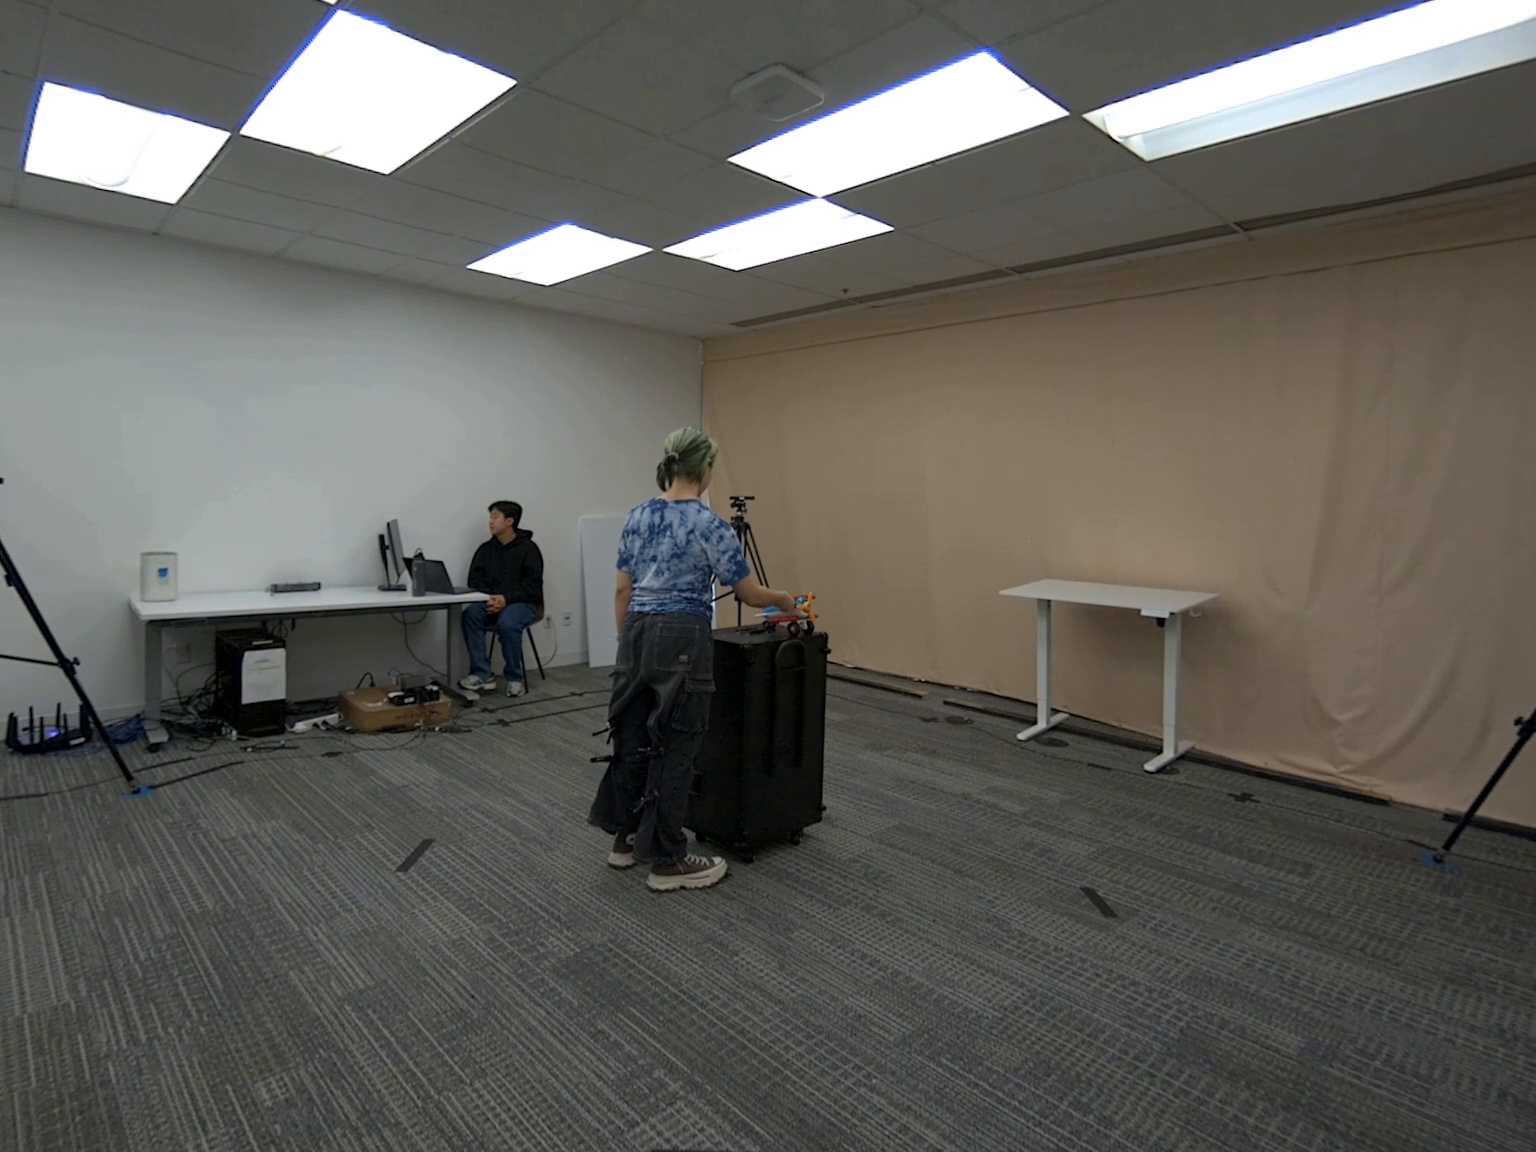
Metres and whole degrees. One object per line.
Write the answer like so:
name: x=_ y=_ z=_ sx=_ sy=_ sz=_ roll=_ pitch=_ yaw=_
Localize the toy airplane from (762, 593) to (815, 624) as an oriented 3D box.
toy airplane: x=0.046 y=0.156 z=3.437 sx=0.263 sy=0.155 sz=0.249 roll=3 pitch=8 yaw=17
